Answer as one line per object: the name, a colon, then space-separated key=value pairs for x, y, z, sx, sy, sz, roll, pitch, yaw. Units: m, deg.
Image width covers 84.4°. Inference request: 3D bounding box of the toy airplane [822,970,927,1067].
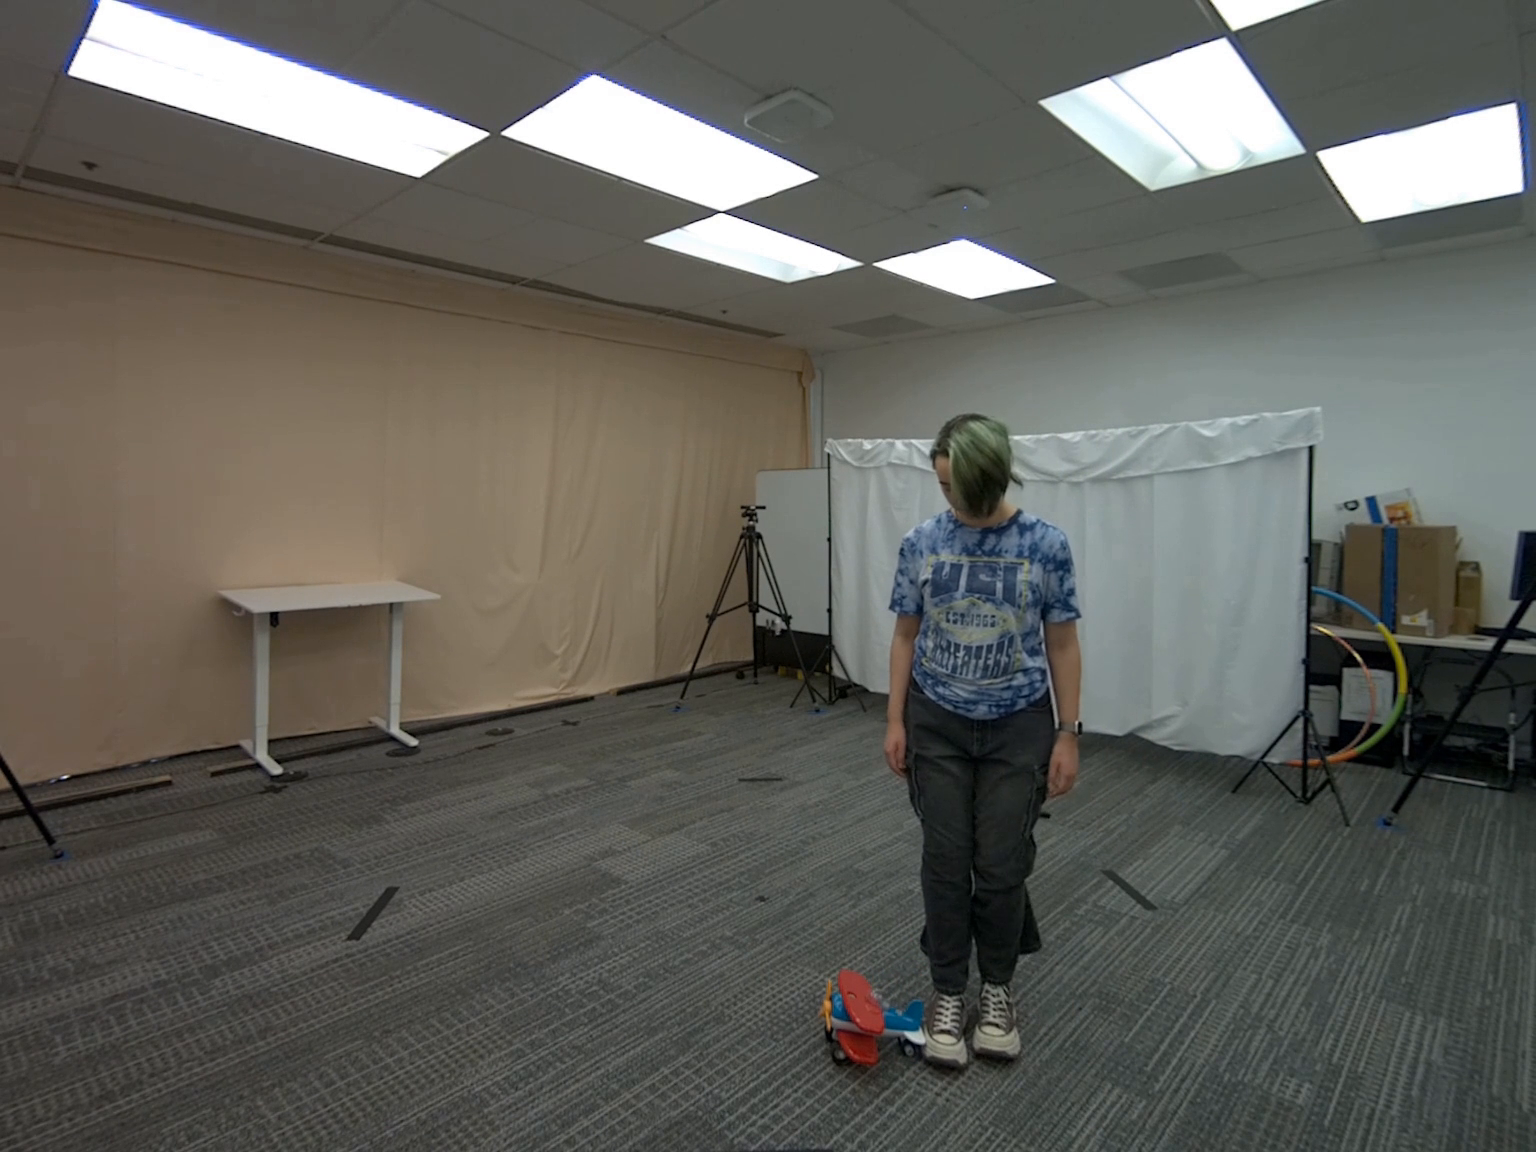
toy airplane: x=0.271 y=1.145 z=2.152 sx=0.253 sy=0.156 sz=0.258 roll=-4 pitch=4 yaw=-27
